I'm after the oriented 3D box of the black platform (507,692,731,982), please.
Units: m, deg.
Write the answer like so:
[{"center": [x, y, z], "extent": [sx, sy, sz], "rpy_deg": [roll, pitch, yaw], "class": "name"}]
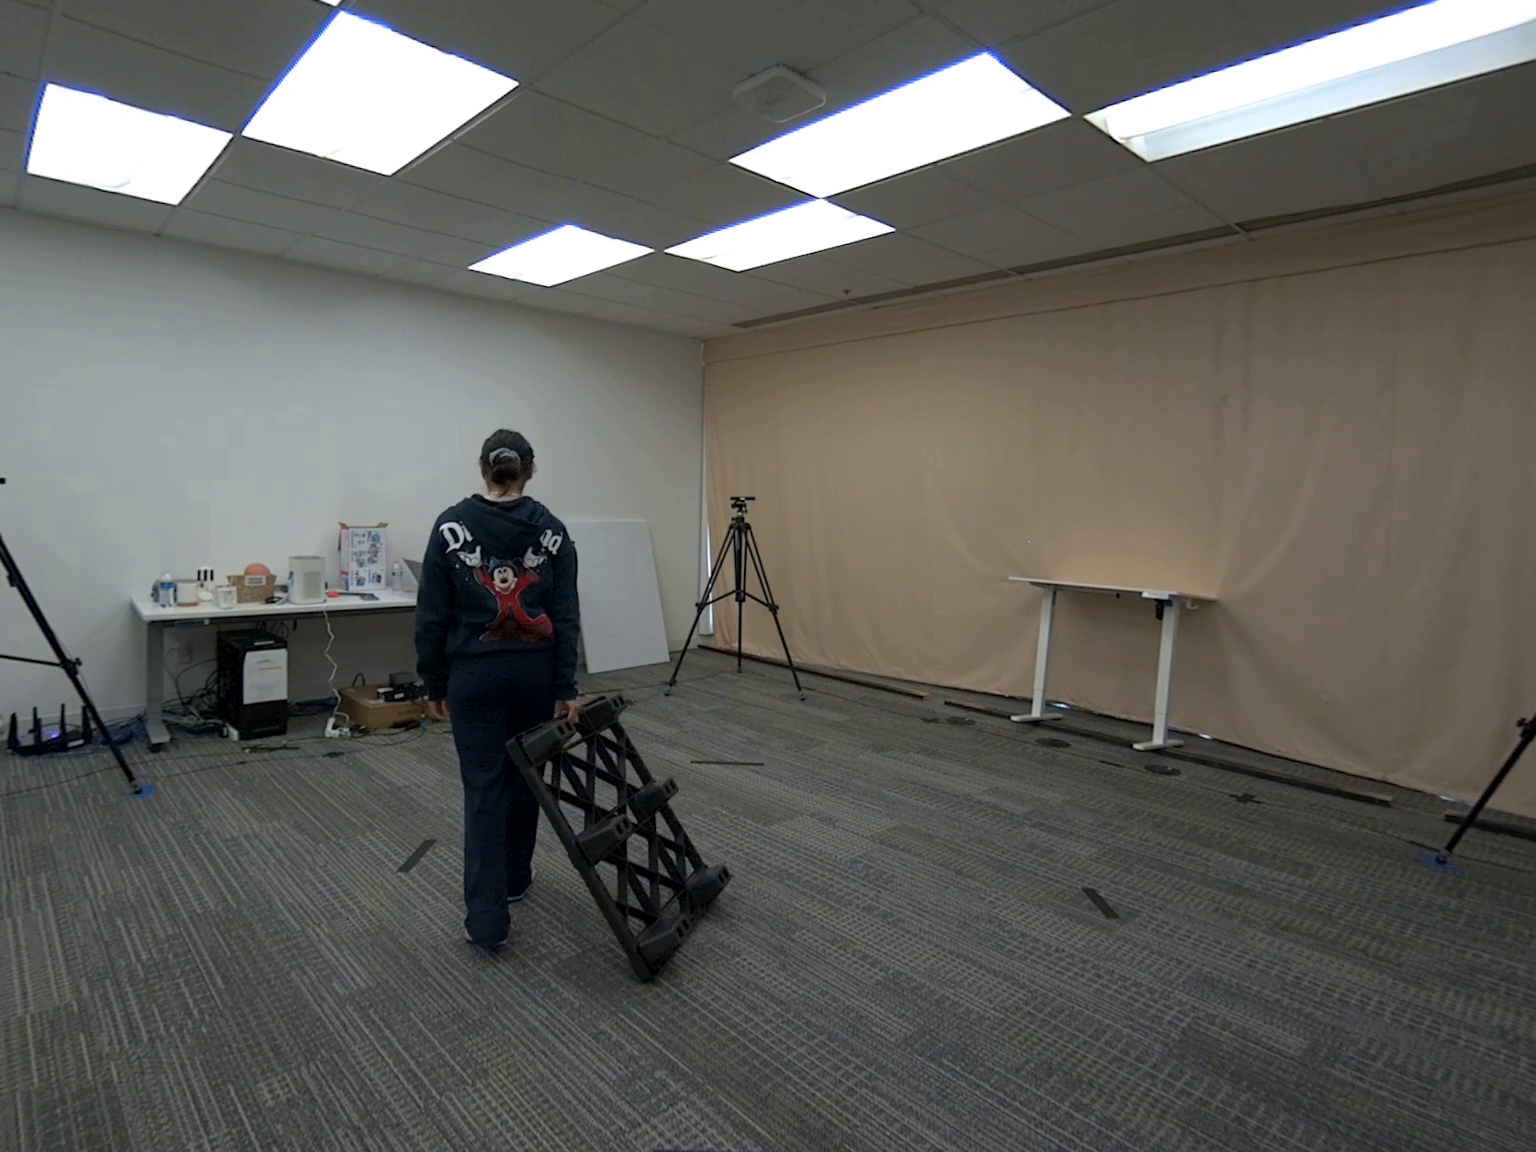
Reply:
[{"center": [-0.441, 0.780, 2.715], "extent": [0.144, 0.812, 0.598], "rpy_deg": [-35, -7, 16], "class": "black platform"}]
